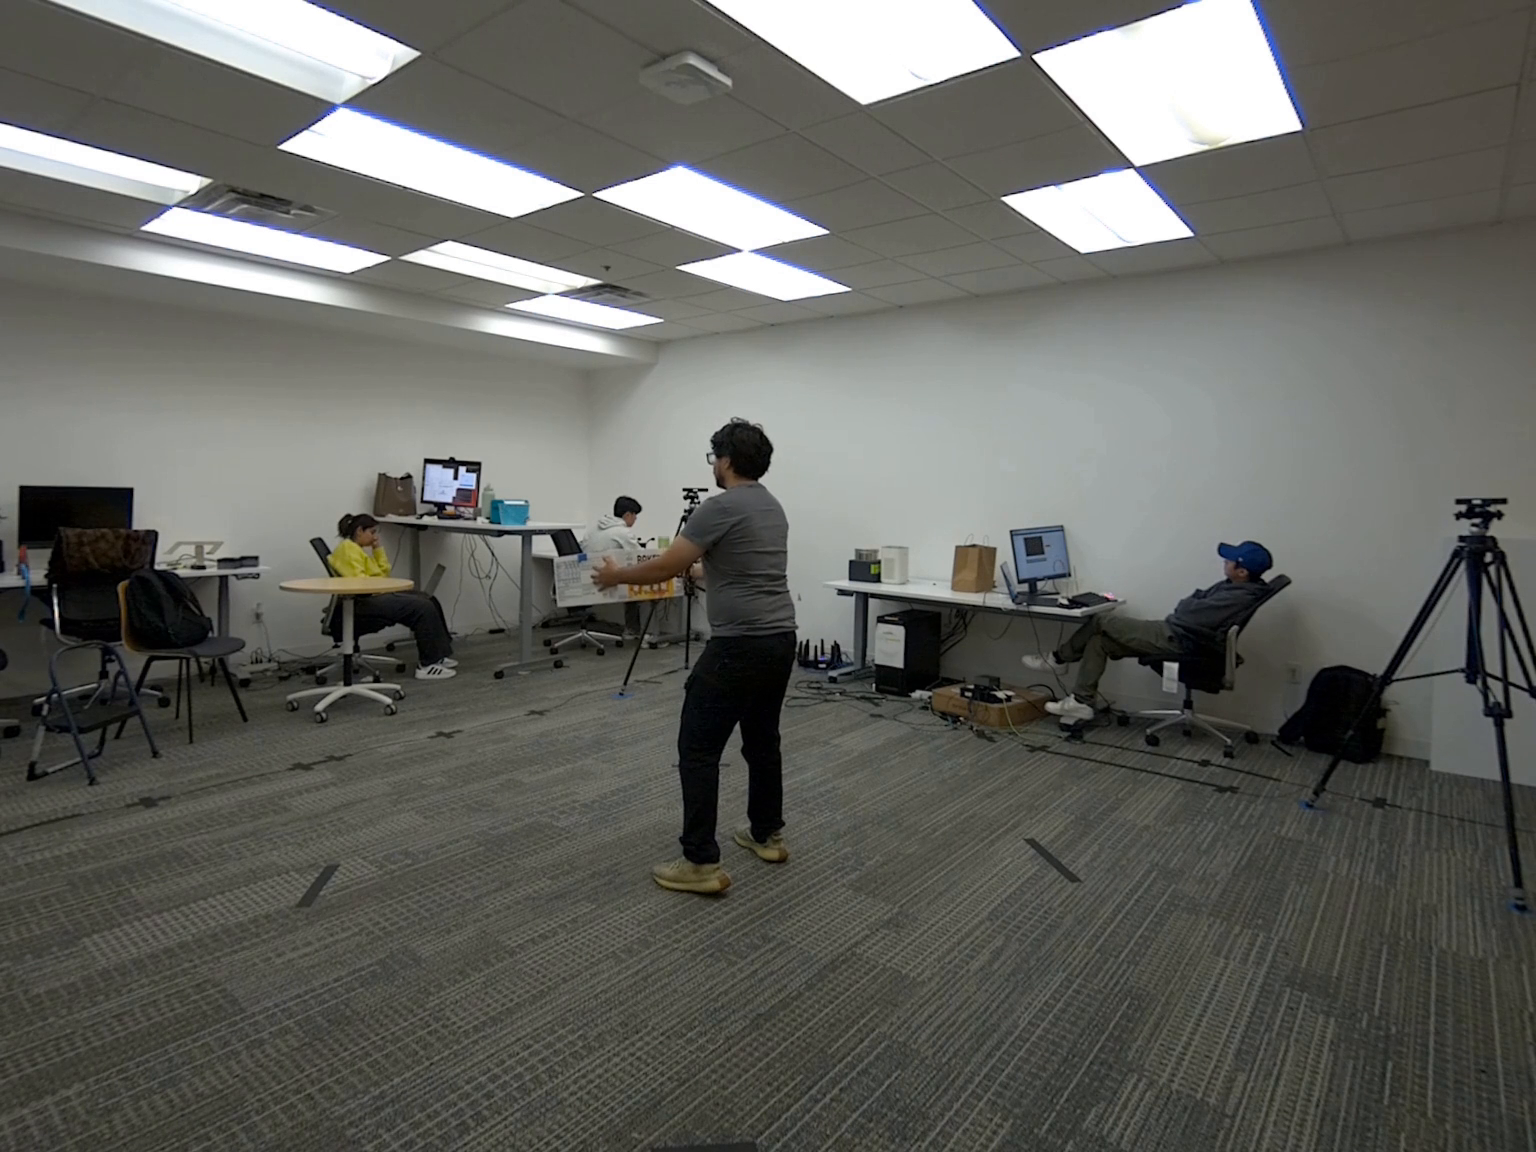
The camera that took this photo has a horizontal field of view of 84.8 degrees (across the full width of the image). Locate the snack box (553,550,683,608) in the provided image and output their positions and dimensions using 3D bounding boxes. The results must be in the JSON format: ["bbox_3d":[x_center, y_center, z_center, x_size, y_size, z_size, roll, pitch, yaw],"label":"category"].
[{"bbox_3d":[-0.626,0.008,3.488,0.349,0.206,0.394,-7,-1,32],"label":"snack box"}]
